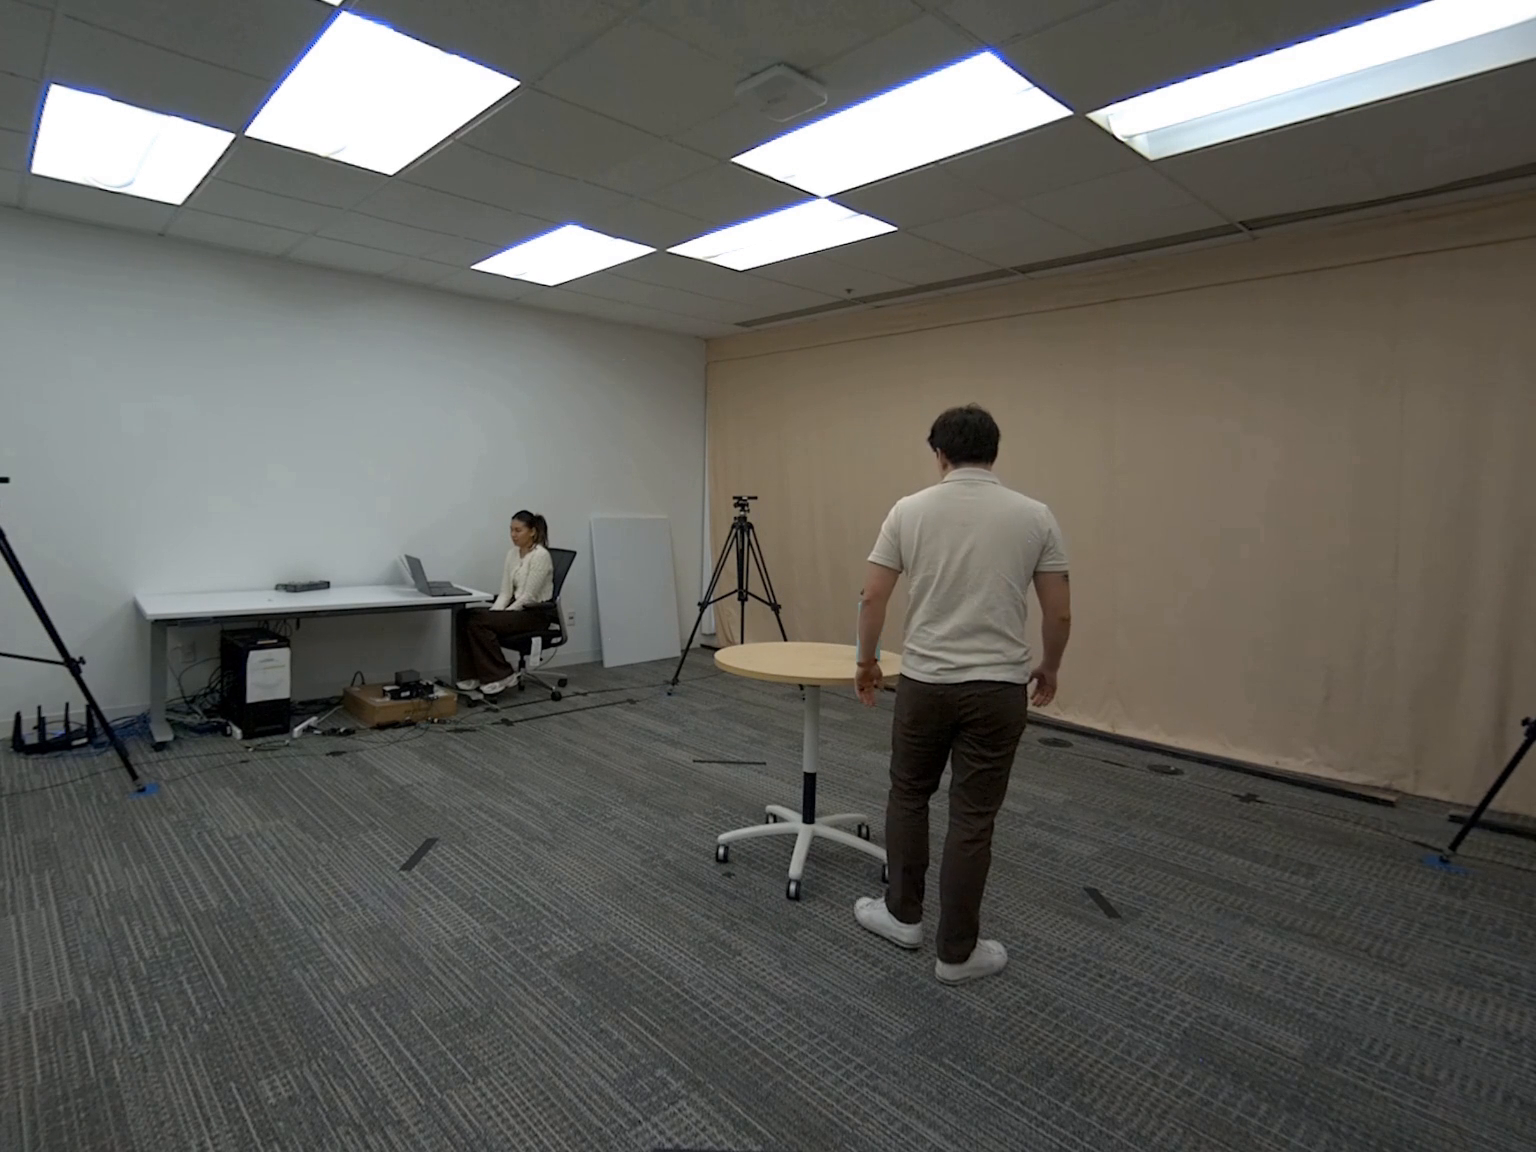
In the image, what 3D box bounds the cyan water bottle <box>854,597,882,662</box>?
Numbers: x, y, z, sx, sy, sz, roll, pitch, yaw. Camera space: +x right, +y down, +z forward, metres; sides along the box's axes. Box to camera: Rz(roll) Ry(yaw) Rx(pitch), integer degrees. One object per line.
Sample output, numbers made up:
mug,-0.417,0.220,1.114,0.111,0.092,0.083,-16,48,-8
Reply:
cyan water bottle,0.389,0.186,3.215,0.092,0.283,0.092,0,2,-1
